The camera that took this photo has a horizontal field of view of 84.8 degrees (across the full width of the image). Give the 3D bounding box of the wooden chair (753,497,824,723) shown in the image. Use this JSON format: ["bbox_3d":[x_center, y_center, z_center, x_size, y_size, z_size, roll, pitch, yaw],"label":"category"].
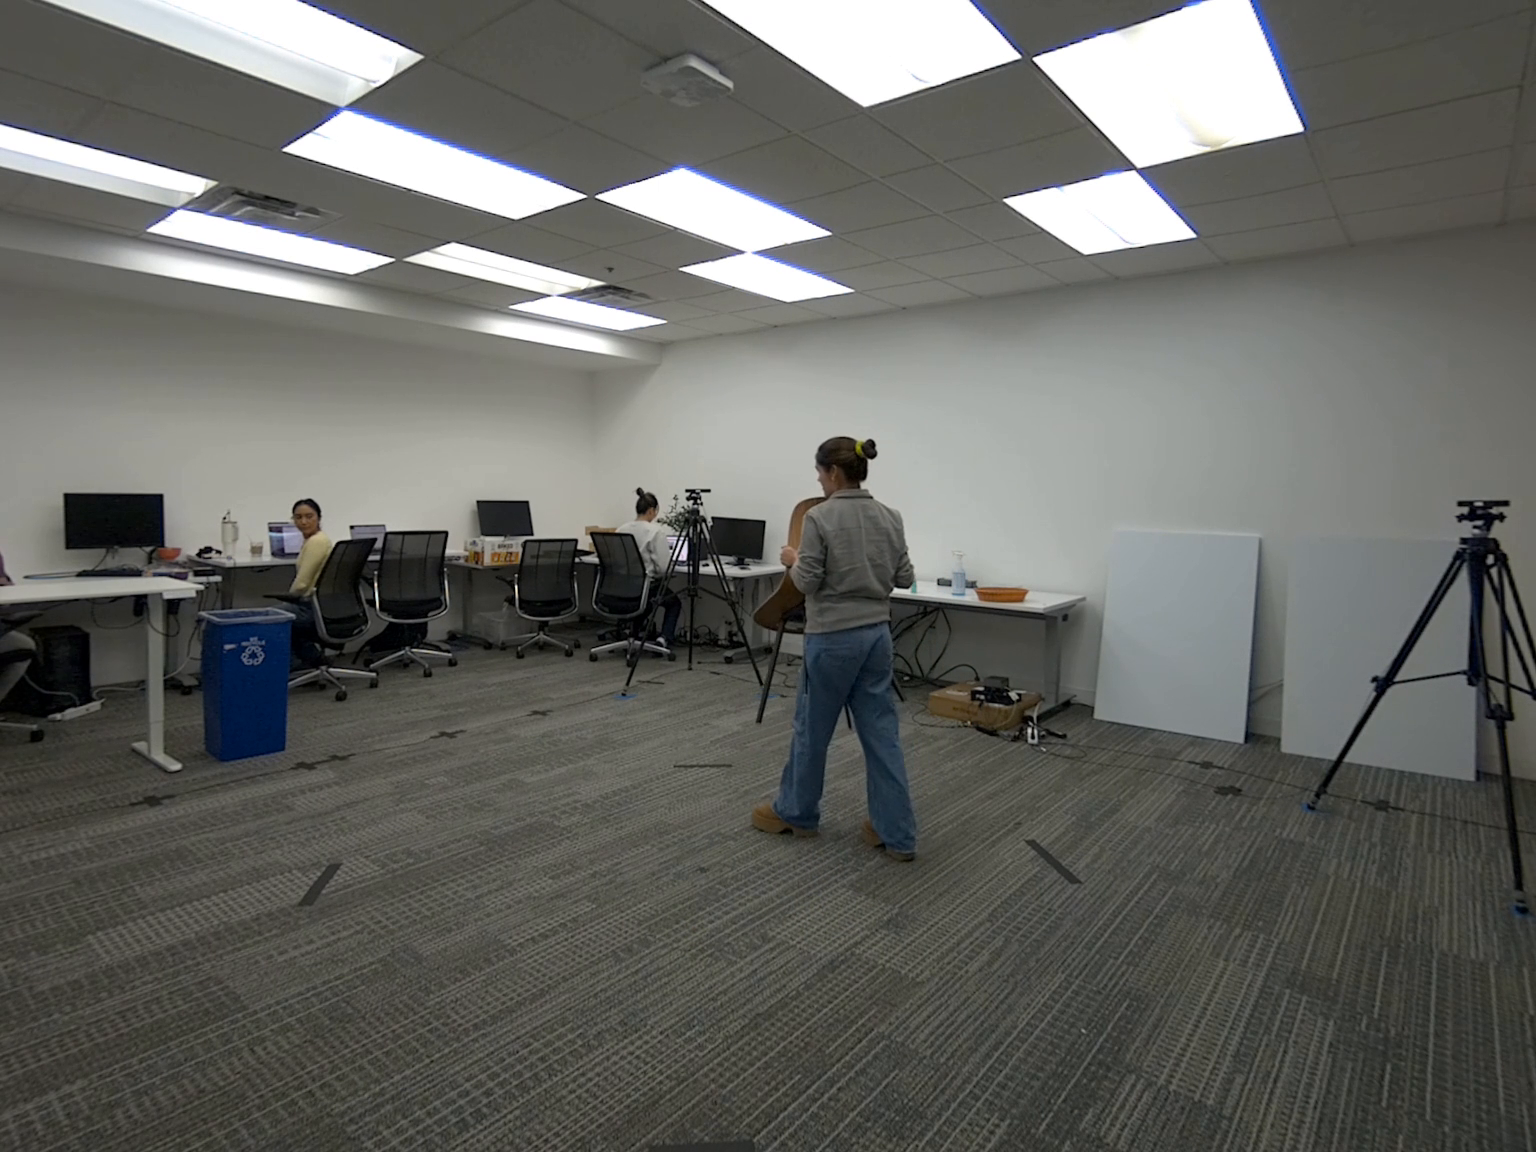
[{"bbox_3d":[0.196,0.158,3.611,0.466,0.895,0.526,7,-23,-23],"label":"wooden chair"}]
